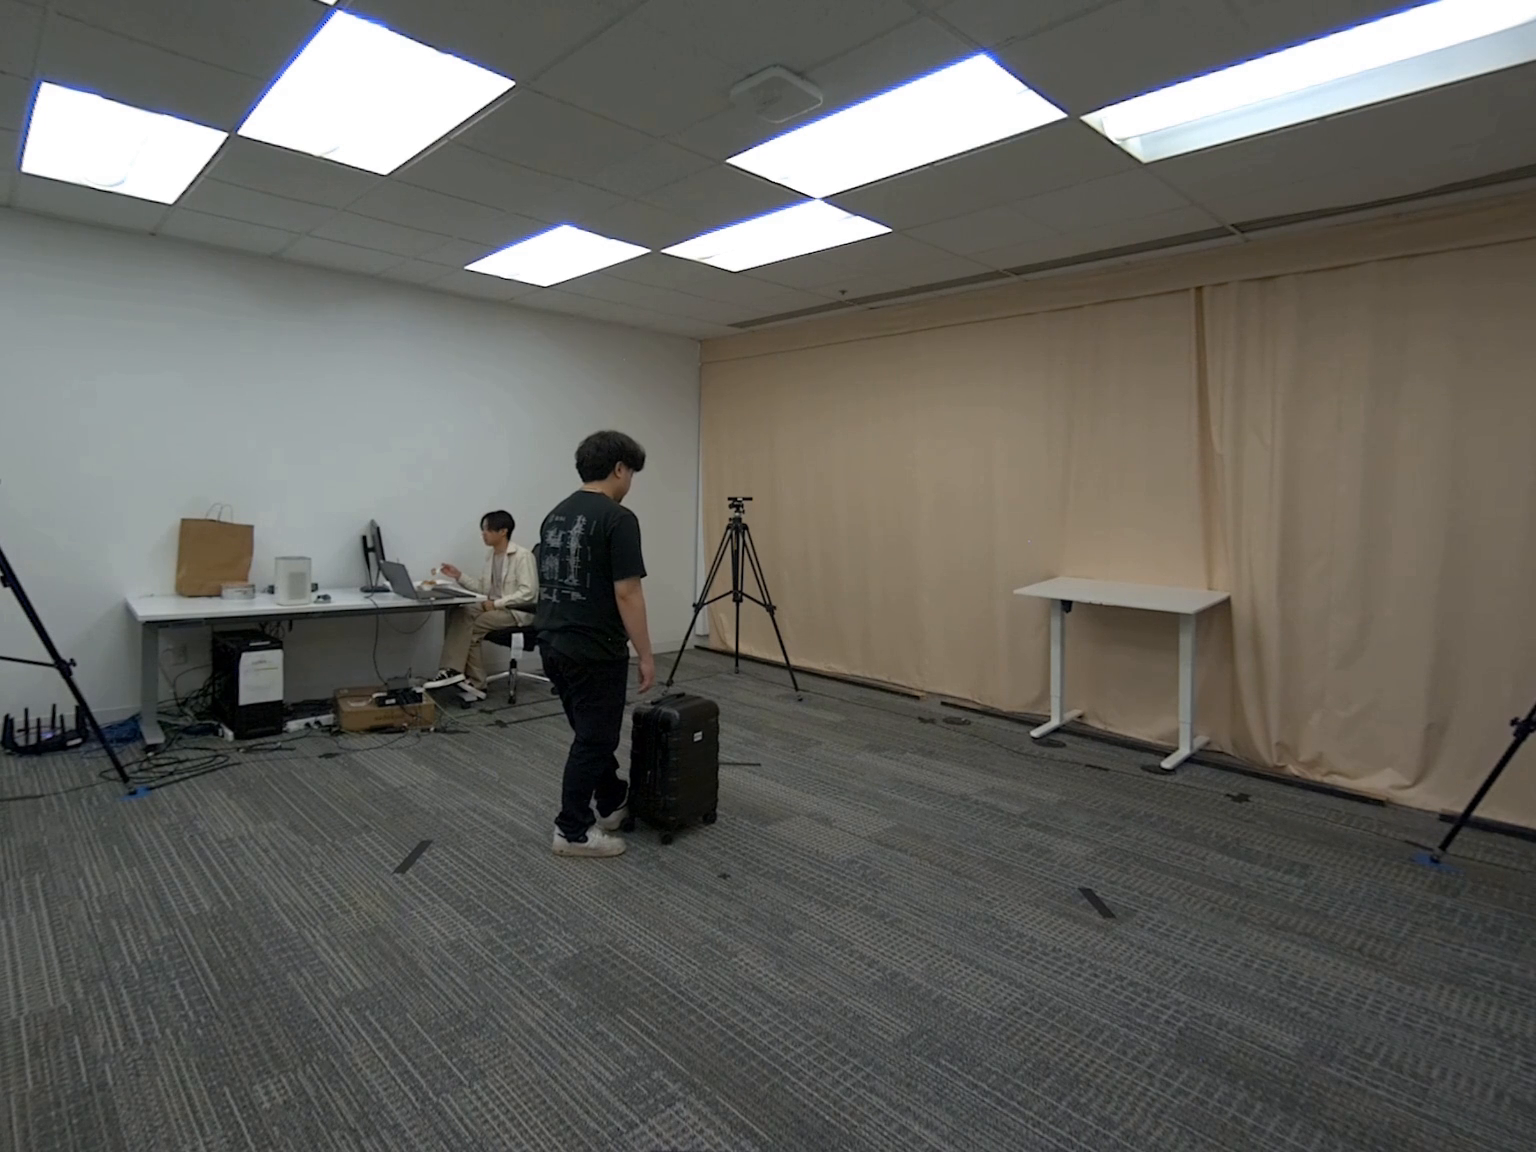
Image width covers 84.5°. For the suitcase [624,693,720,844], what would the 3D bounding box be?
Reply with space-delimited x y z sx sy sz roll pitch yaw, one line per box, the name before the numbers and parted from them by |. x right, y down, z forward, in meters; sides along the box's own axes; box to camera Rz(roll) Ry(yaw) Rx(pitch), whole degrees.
suitcase | -0.399 0.788 3.564 0.254 0.548 0.367 5 3 33
